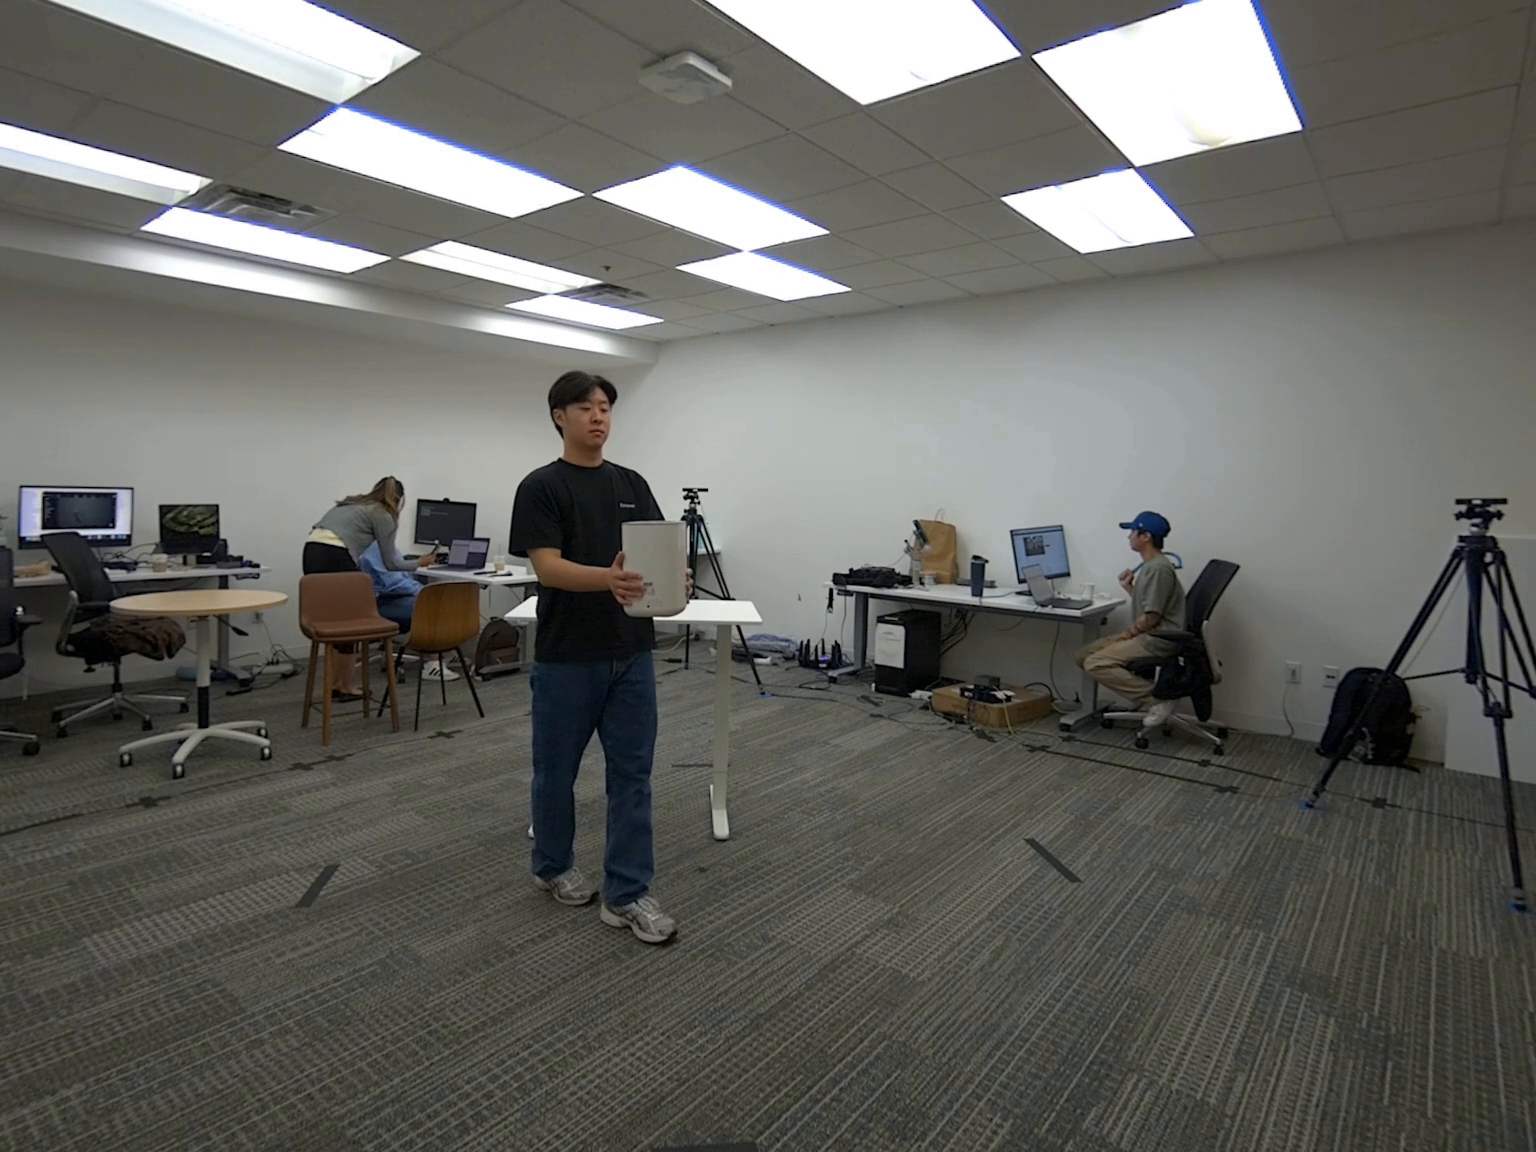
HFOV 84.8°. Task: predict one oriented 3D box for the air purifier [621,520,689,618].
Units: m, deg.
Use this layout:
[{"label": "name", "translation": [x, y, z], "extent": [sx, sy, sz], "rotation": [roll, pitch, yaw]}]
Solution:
[{"label": "air purifier", "translation": [-0.326, -0.025, 2.437], "extent": [0.172, 0.264, 0.171], "rotation": [0, 4, 6]}]
